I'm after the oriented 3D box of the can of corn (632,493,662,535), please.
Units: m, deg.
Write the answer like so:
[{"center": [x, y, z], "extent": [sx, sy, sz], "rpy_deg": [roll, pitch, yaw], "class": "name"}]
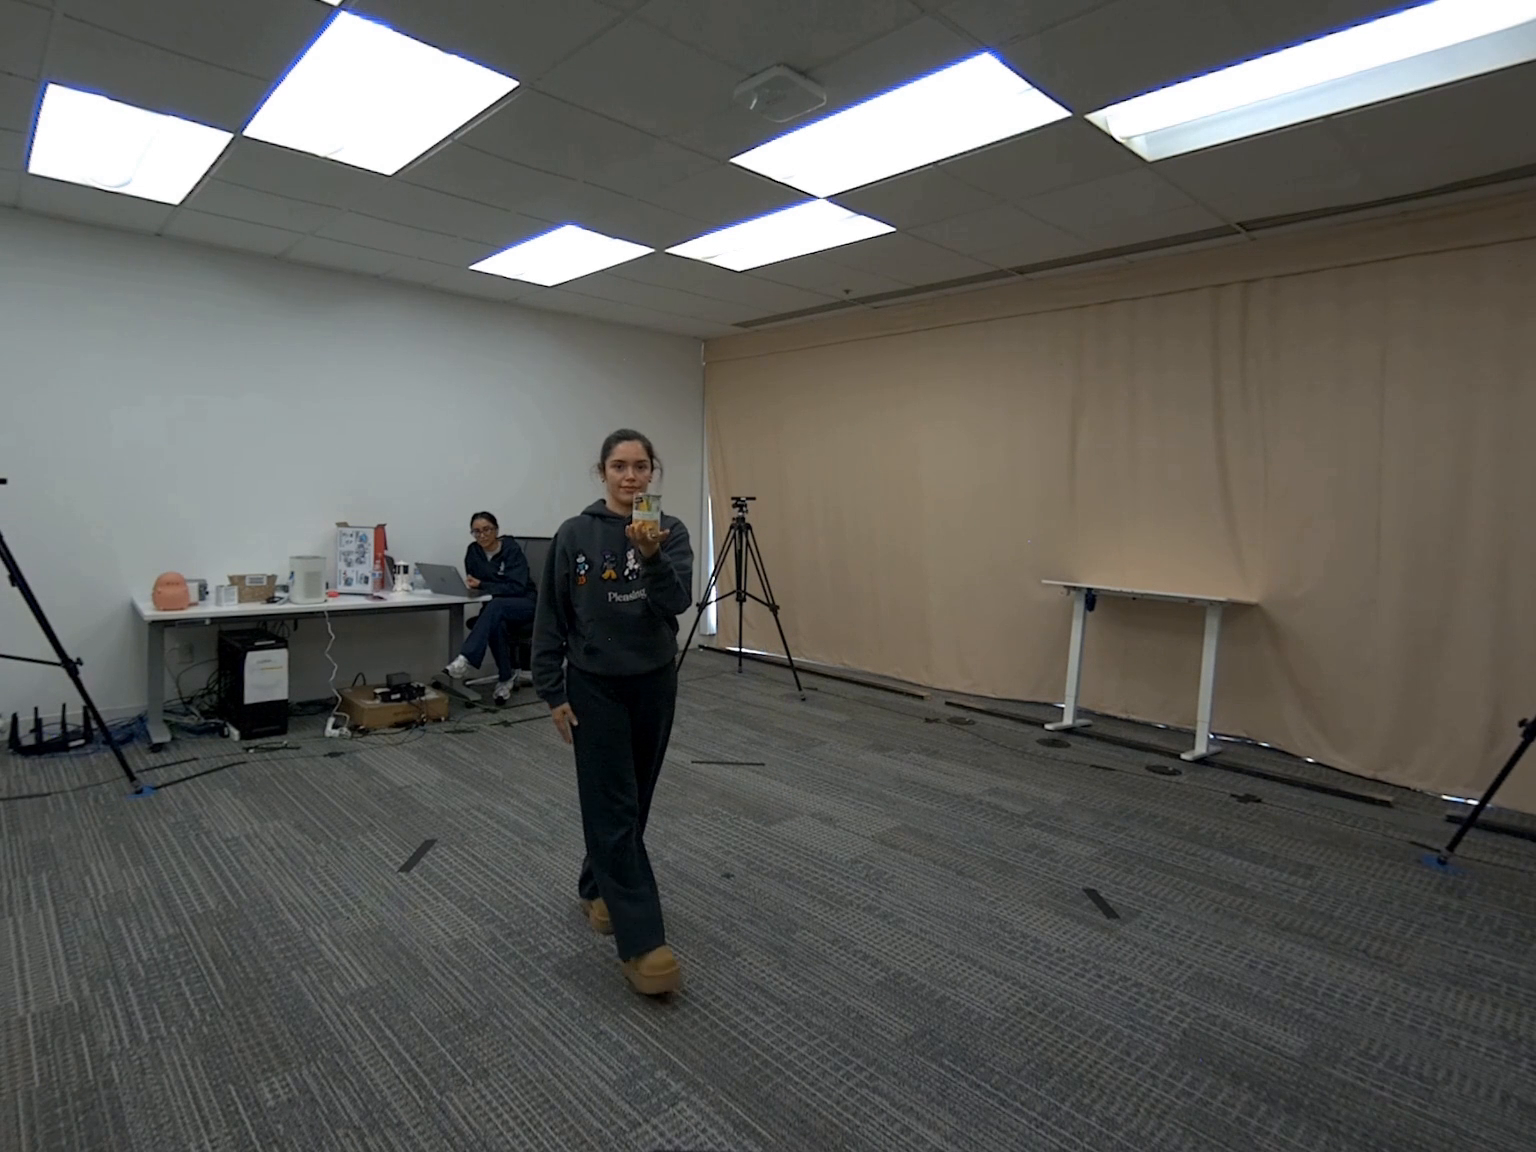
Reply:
[{"center": [-0.327, -0.158, 2.265], "extent": [0.074, 0.111, 0.074], "rpy_deg": [2, 1, -1], "class": "can of corn"}]
